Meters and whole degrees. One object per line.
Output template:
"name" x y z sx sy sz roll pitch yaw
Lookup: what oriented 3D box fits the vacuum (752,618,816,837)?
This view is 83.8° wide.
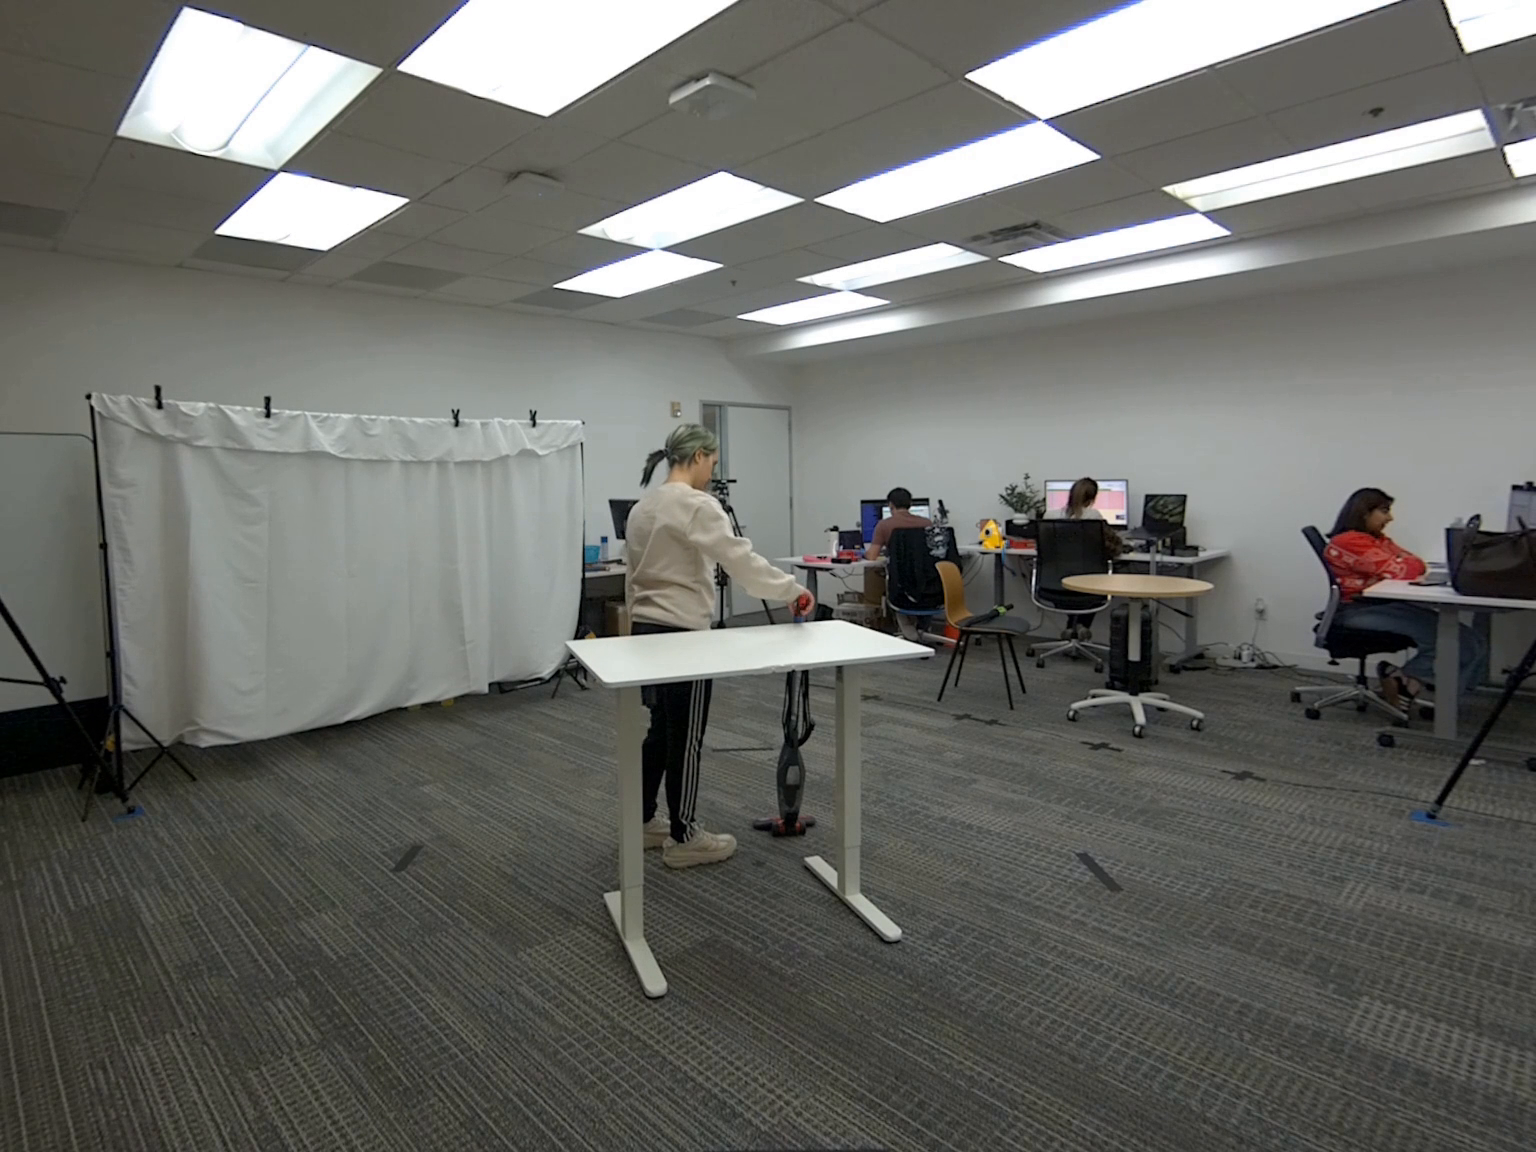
"vacuum" 0.101 0.549 3.198 0.249 1.029 0.149 -3 26 -15
